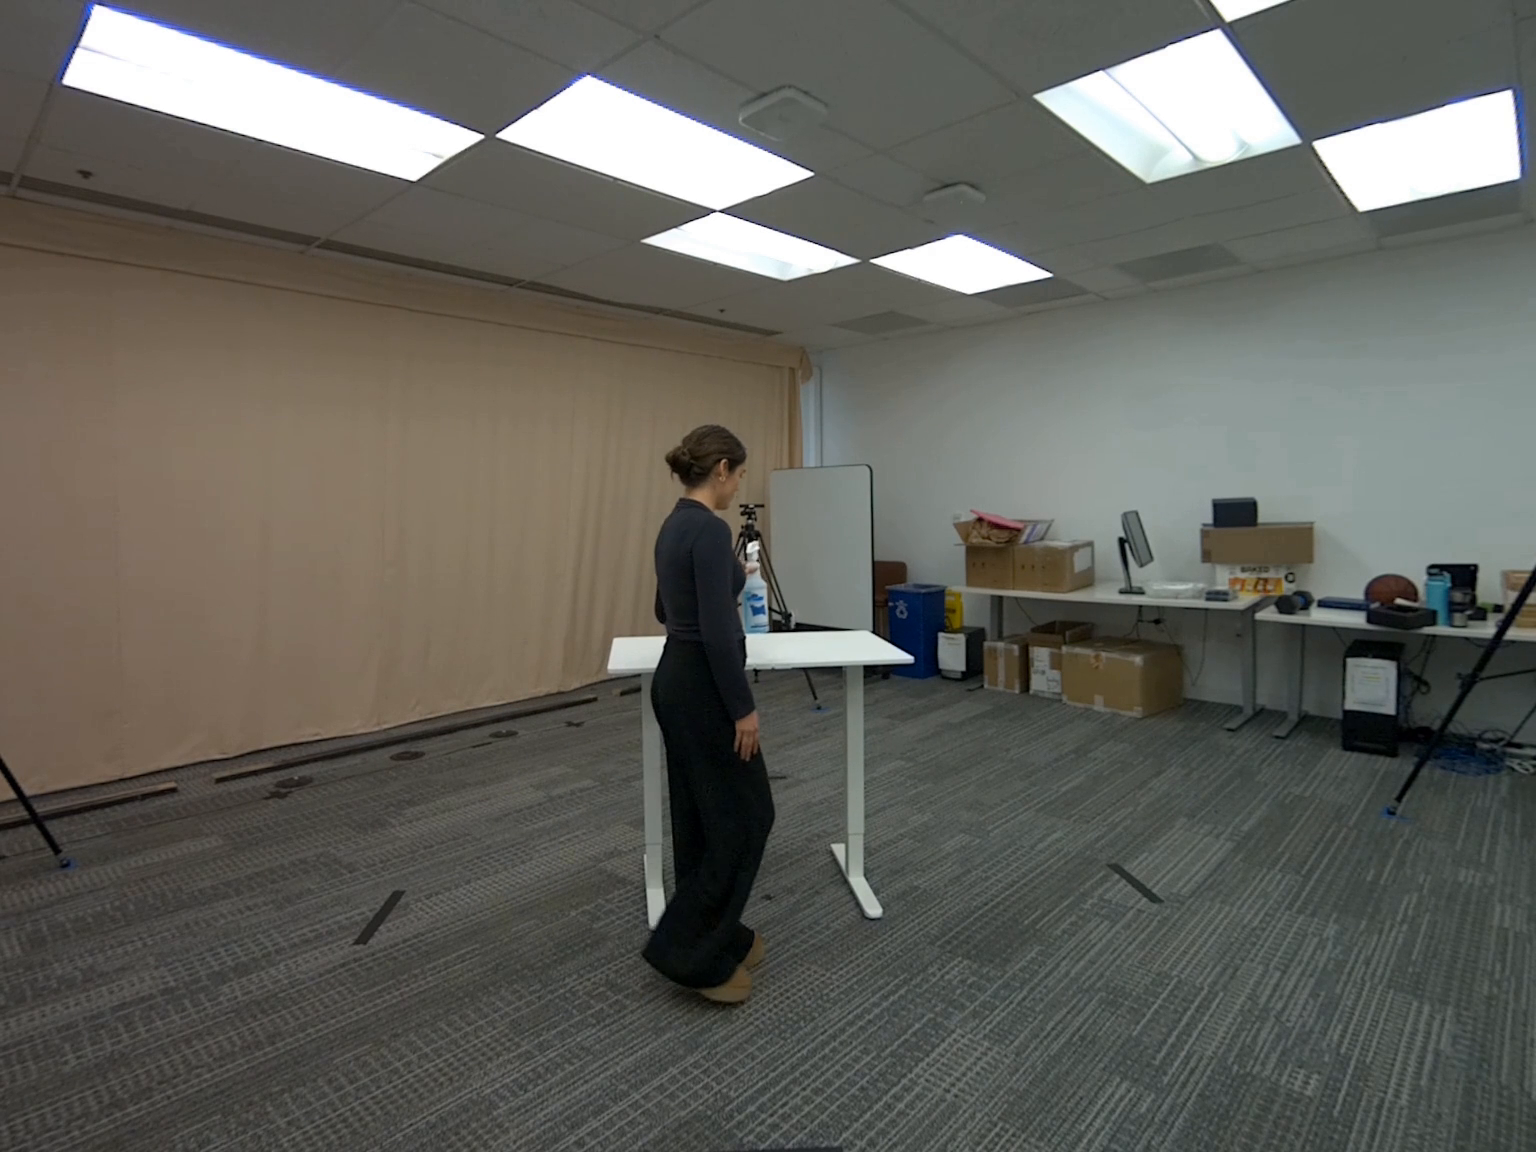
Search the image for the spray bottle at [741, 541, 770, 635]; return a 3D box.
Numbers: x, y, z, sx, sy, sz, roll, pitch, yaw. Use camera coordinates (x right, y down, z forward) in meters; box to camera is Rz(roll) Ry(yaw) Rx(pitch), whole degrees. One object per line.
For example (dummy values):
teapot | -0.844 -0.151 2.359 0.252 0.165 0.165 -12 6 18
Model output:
spray bottle | -0.038 0.044 2.765 0.090 0.296 0.087 4 9 43
